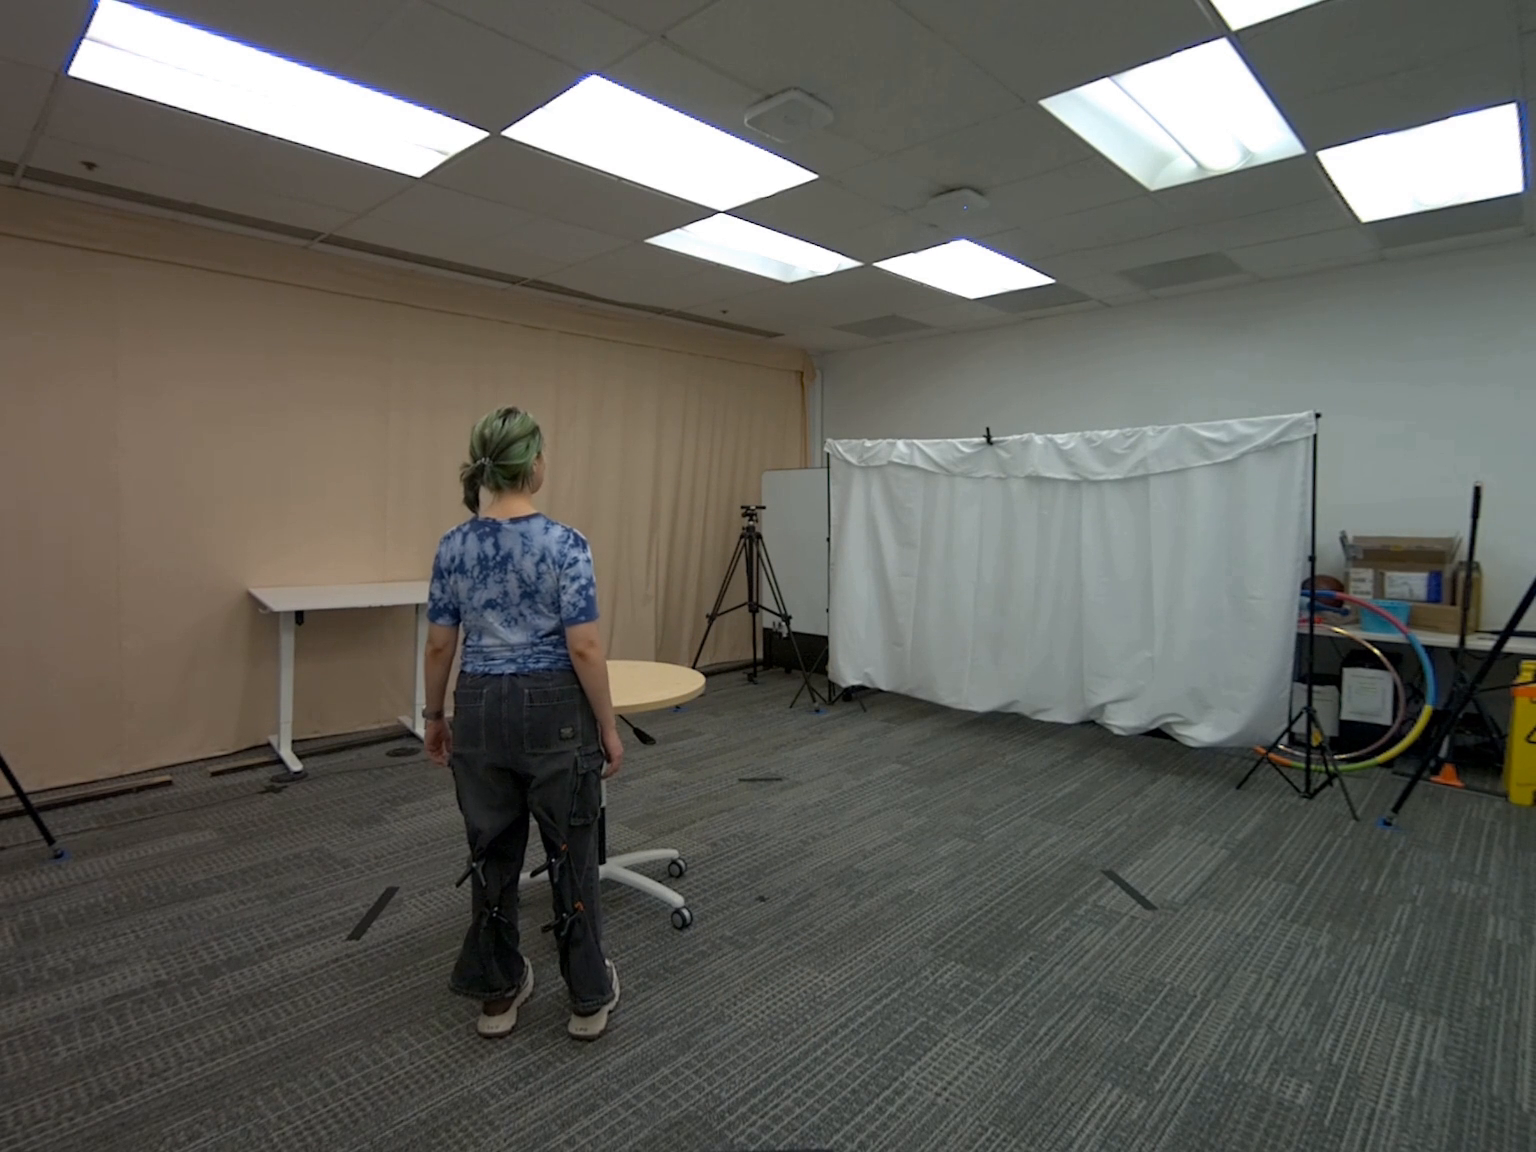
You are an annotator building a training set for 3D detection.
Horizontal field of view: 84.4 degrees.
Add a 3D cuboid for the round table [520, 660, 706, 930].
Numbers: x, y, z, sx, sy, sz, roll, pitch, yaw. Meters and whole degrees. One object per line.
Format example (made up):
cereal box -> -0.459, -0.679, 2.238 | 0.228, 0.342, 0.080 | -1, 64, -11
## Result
round table -> -0.593, 0.763, 2.951 | 0.763, 0.792, 0.766 | -1, 4, -2
